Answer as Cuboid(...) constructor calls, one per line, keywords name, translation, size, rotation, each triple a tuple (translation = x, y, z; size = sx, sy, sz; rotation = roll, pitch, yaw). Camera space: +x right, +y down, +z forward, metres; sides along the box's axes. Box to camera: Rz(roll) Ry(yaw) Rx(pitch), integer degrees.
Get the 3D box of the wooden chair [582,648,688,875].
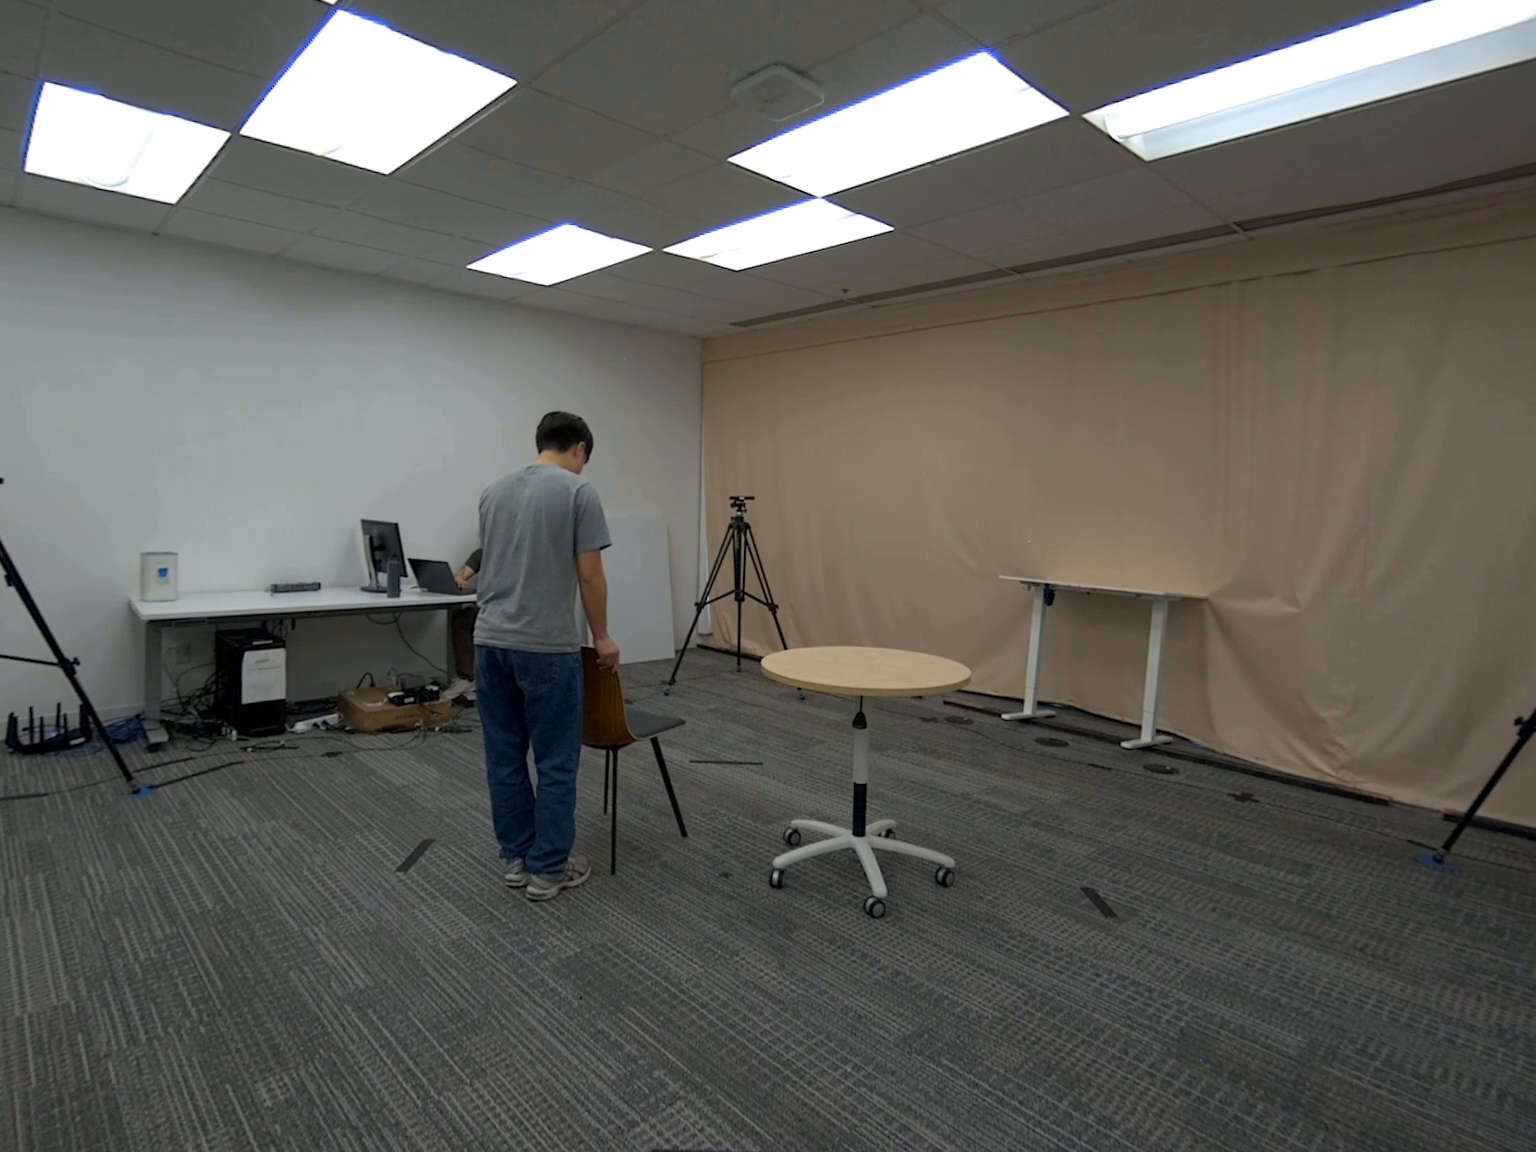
Cuboid(name="wooden chair", translation=(-0.626, 0.637, 3.367), size=(0.489, 0.873, 0.514), rotation=(3, 8, 32))
